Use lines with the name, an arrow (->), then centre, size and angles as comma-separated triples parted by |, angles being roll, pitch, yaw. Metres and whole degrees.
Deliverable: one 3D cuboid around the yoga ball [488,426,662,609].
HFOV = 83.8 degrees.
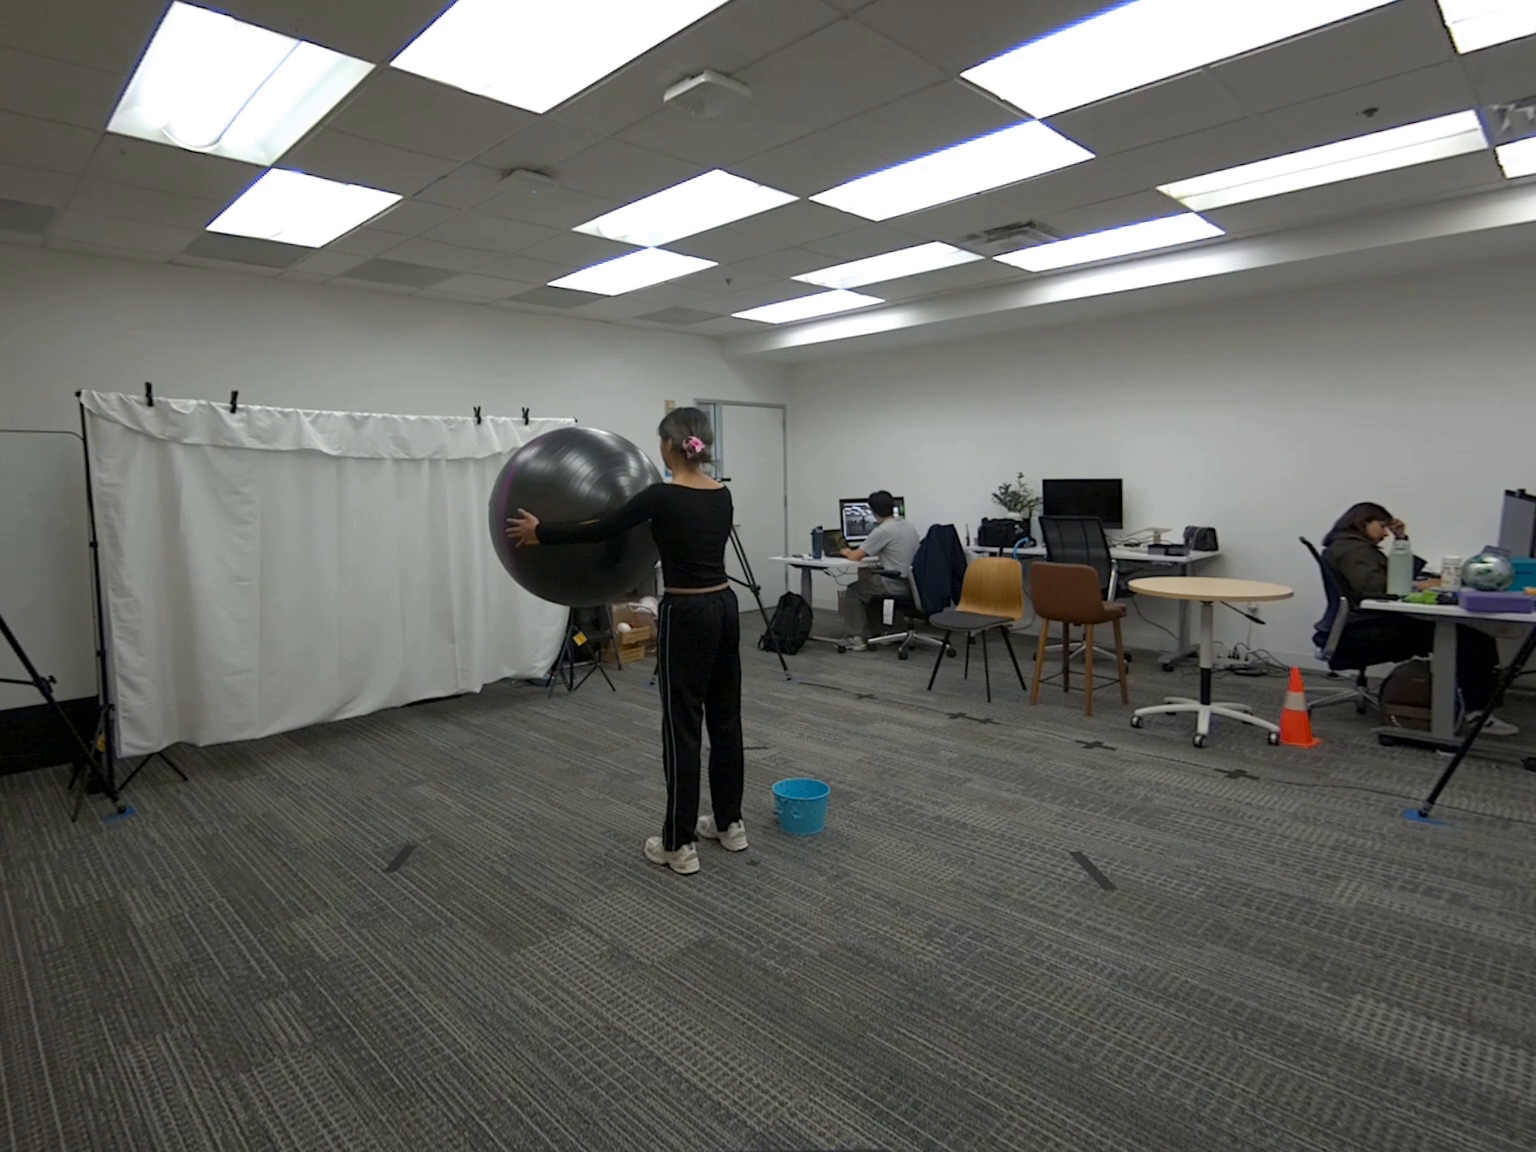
yoga ball -> -0.795, -0.245, 3.613 | 0.757, 0.755, 0.762 | -1, 5, -2
